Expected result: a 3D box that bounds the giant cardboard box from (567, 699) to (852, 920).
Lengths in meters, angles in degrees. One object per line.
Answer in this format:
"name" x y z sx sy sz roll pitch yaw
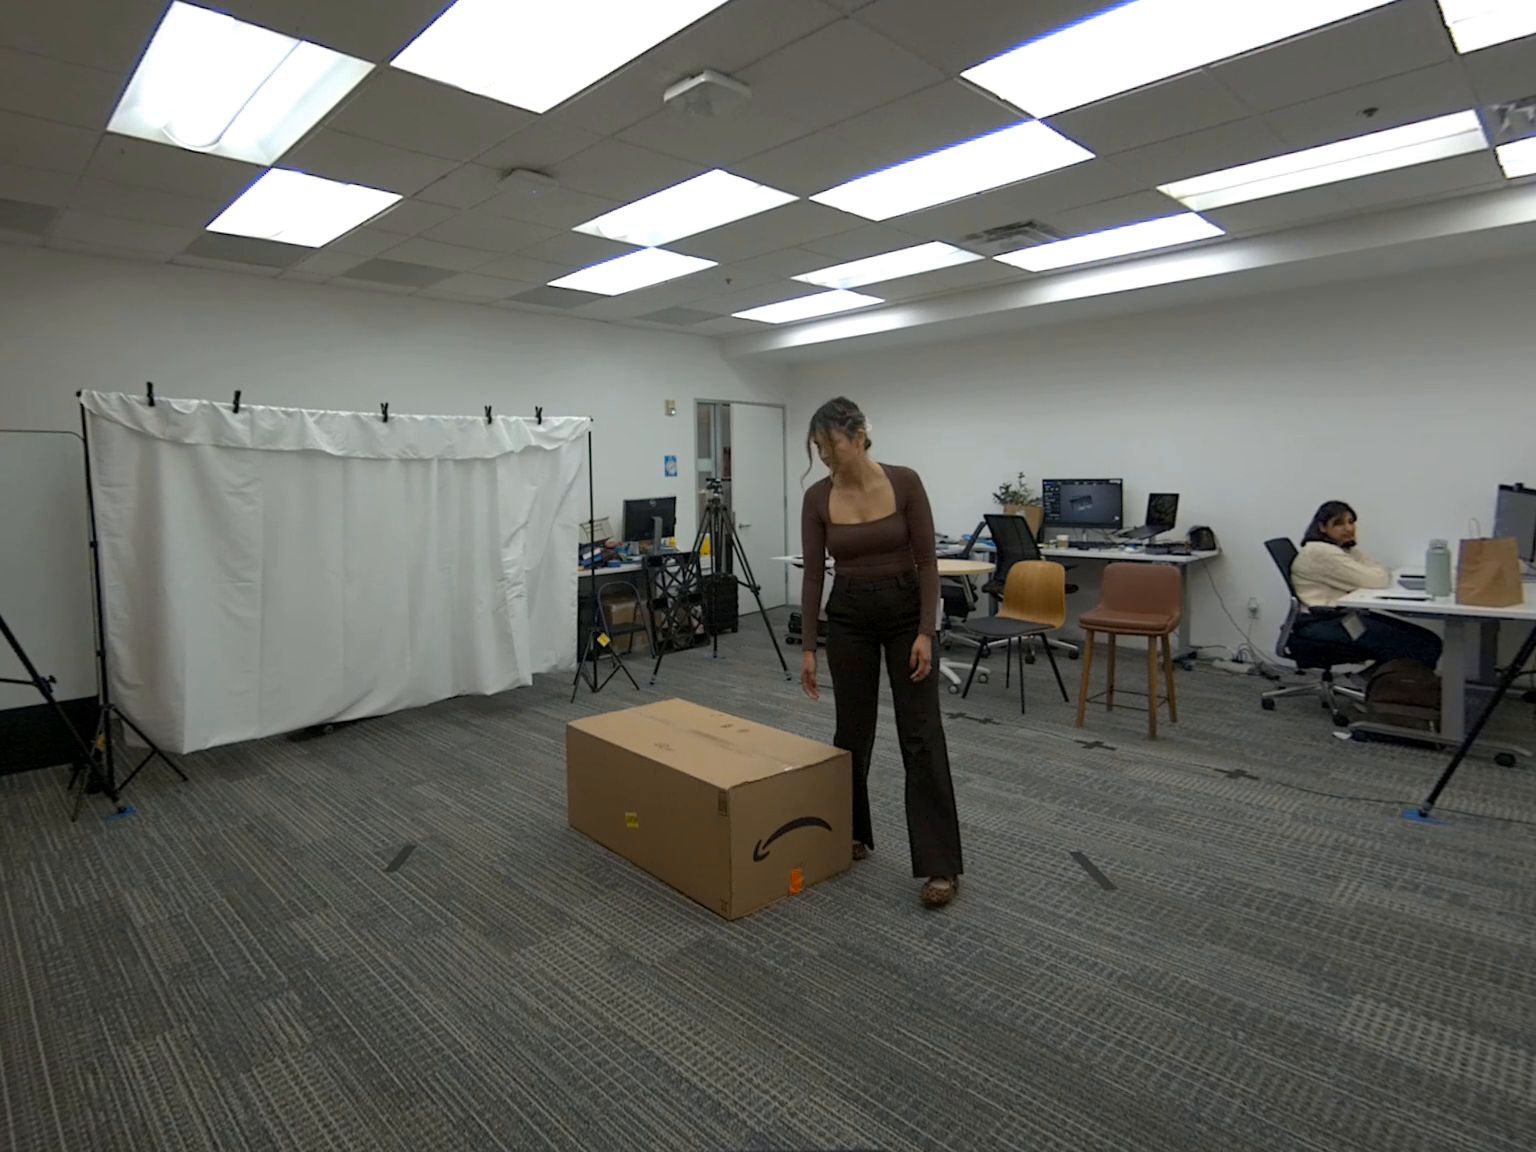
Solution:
"giant cardboard box" -0.260 0.822 3.248 0.569 0.445 1.059 -7 8 -40
